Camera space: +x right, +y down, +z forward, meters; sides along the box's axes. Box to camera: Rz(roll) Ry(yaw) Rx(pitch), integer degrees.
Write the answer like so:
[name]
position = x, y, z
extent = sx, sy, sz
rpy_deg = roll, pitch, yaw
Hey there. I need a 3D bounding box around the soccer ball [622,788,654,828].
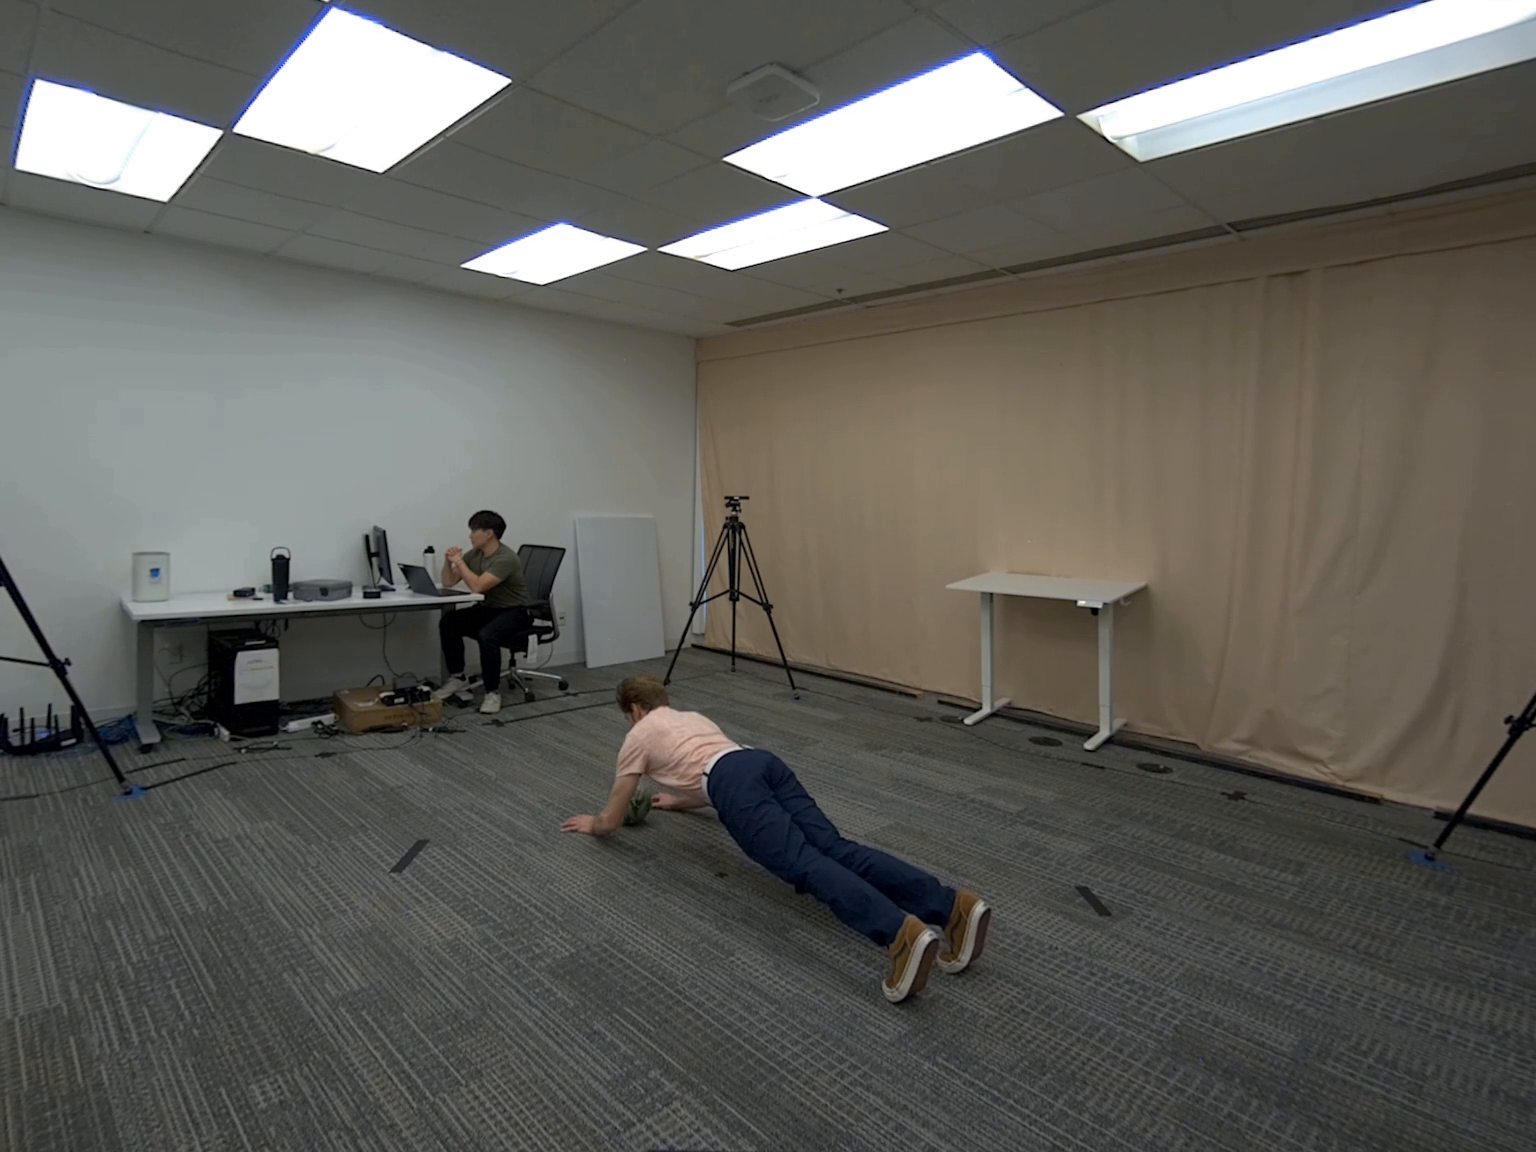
[soccer ball]
position = -0.595, 0.964, 3.587
extent = 0.187, 0.187, 0.188
rpy_deg = 1, 4, -1
